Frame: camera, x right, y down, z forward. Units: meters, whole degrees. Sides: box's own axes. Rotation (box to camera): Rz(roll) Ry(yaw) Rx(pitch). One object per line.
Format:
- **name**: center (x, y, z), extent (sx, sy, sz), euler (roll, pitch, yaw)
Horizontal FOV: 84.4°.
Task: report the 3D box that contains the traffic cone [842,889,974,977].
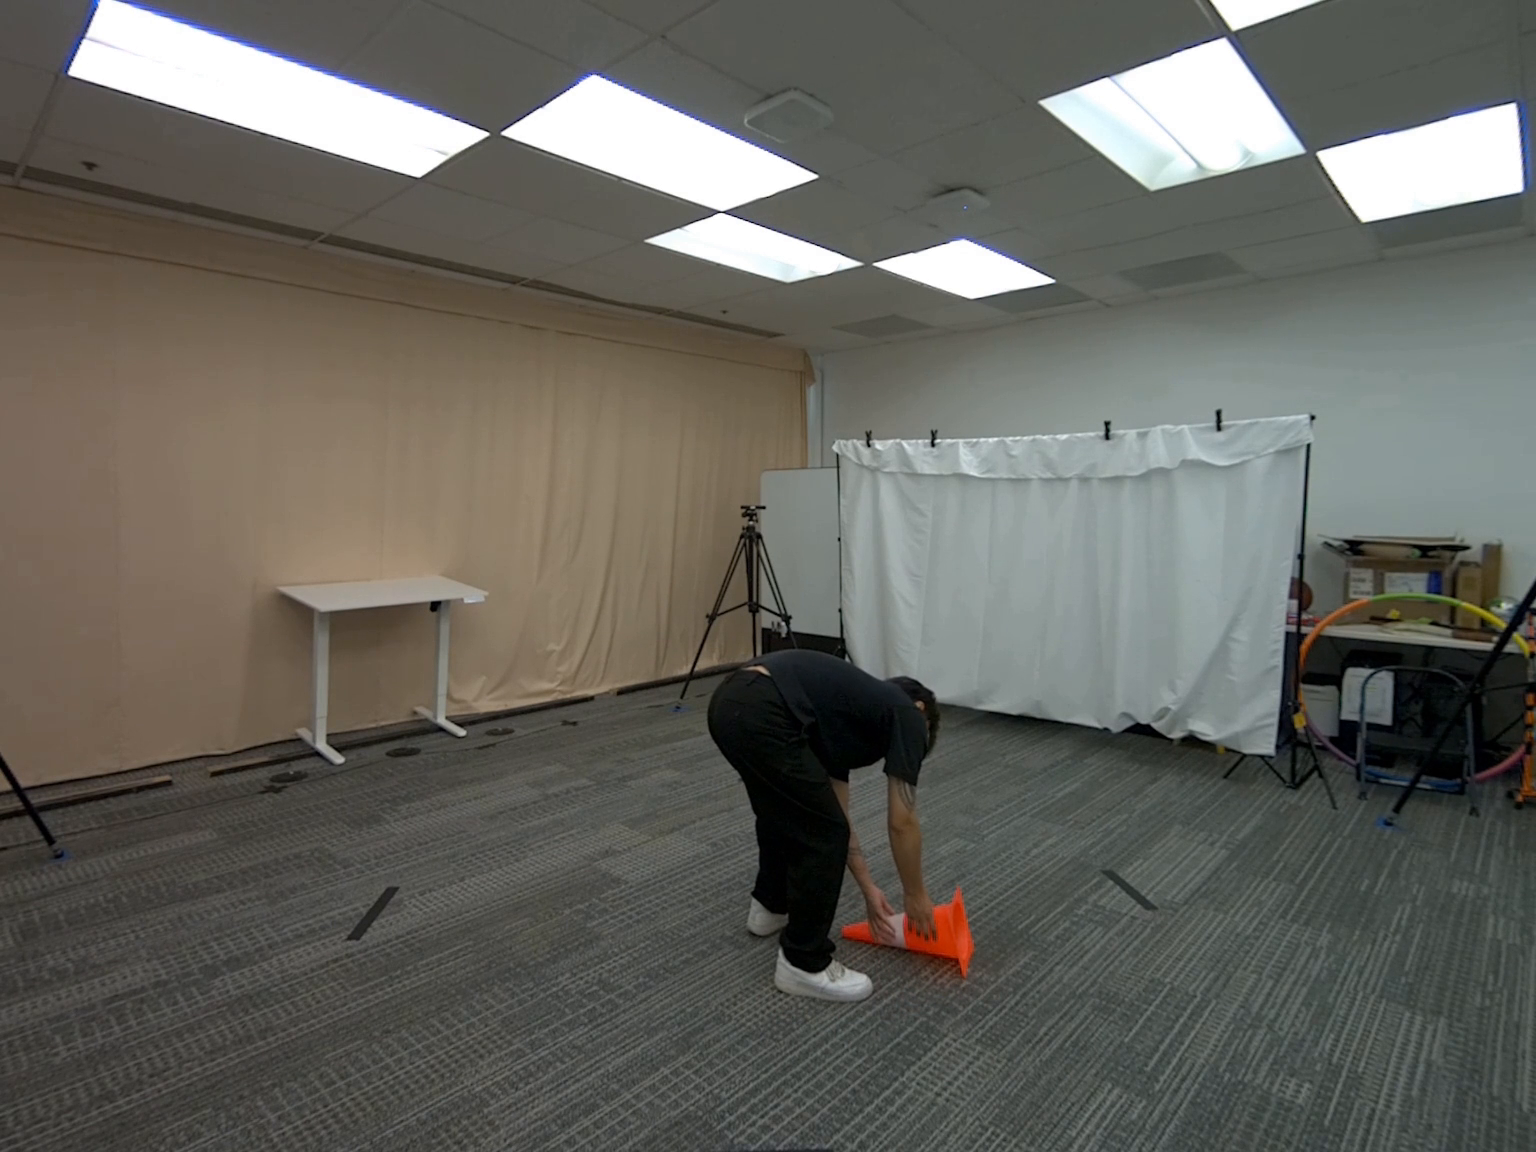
- **traffic cone**: center (0.422, 1.126, 2.643), extent (0.392, 0.206, 0.198), euler (-13, -5, 25)
